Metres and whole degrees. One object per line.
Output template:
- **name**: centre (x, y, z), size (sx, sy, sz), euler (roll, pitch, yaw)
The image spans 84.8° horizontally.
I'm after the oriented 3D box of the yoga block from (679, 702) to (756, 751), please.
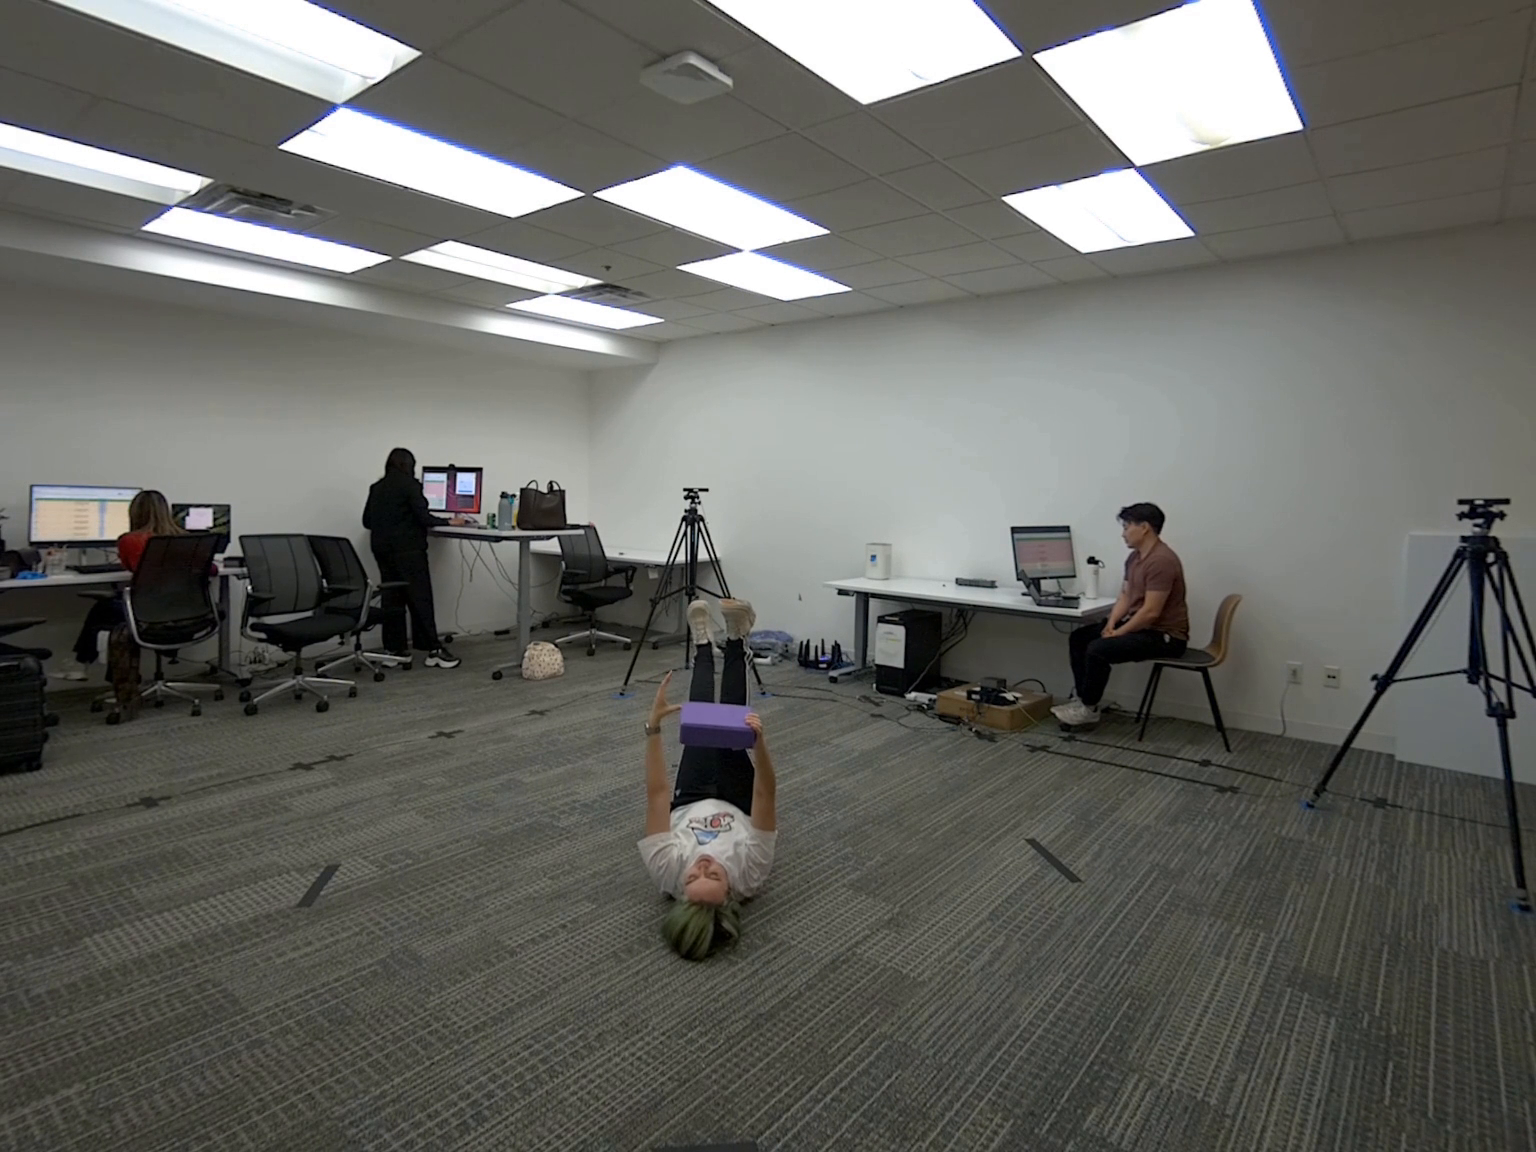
- **yoga block**: centre (-0.160, 0.462, 2.659), size (0.228, 0.075, 0.152), euler (2, 17, -5)
